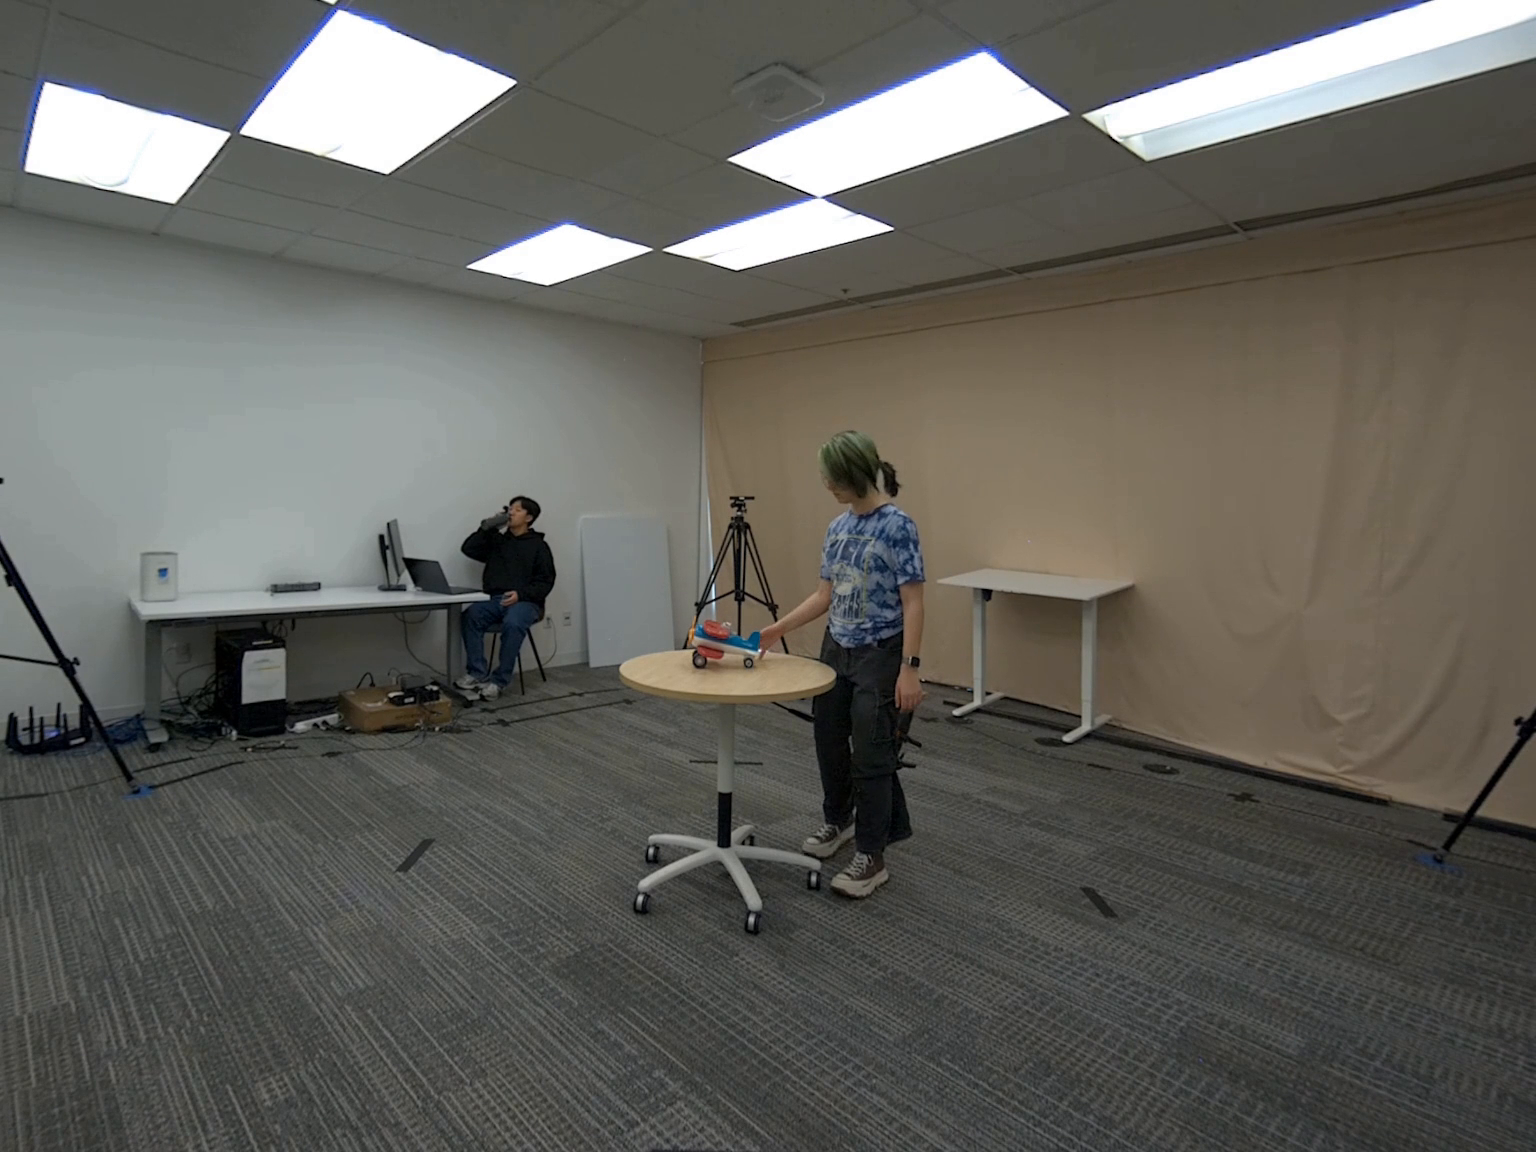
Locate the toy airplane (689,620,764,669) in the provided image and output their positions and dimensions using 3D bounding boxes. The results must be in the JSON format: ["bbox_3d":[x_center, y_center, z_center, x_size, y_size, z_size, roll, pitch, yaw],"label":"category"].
[{"bbox_3d":[-0.167,0.247,3.052,0.254,0.156,0.257,-2,7,-32],"label":"toy airplane"}]
